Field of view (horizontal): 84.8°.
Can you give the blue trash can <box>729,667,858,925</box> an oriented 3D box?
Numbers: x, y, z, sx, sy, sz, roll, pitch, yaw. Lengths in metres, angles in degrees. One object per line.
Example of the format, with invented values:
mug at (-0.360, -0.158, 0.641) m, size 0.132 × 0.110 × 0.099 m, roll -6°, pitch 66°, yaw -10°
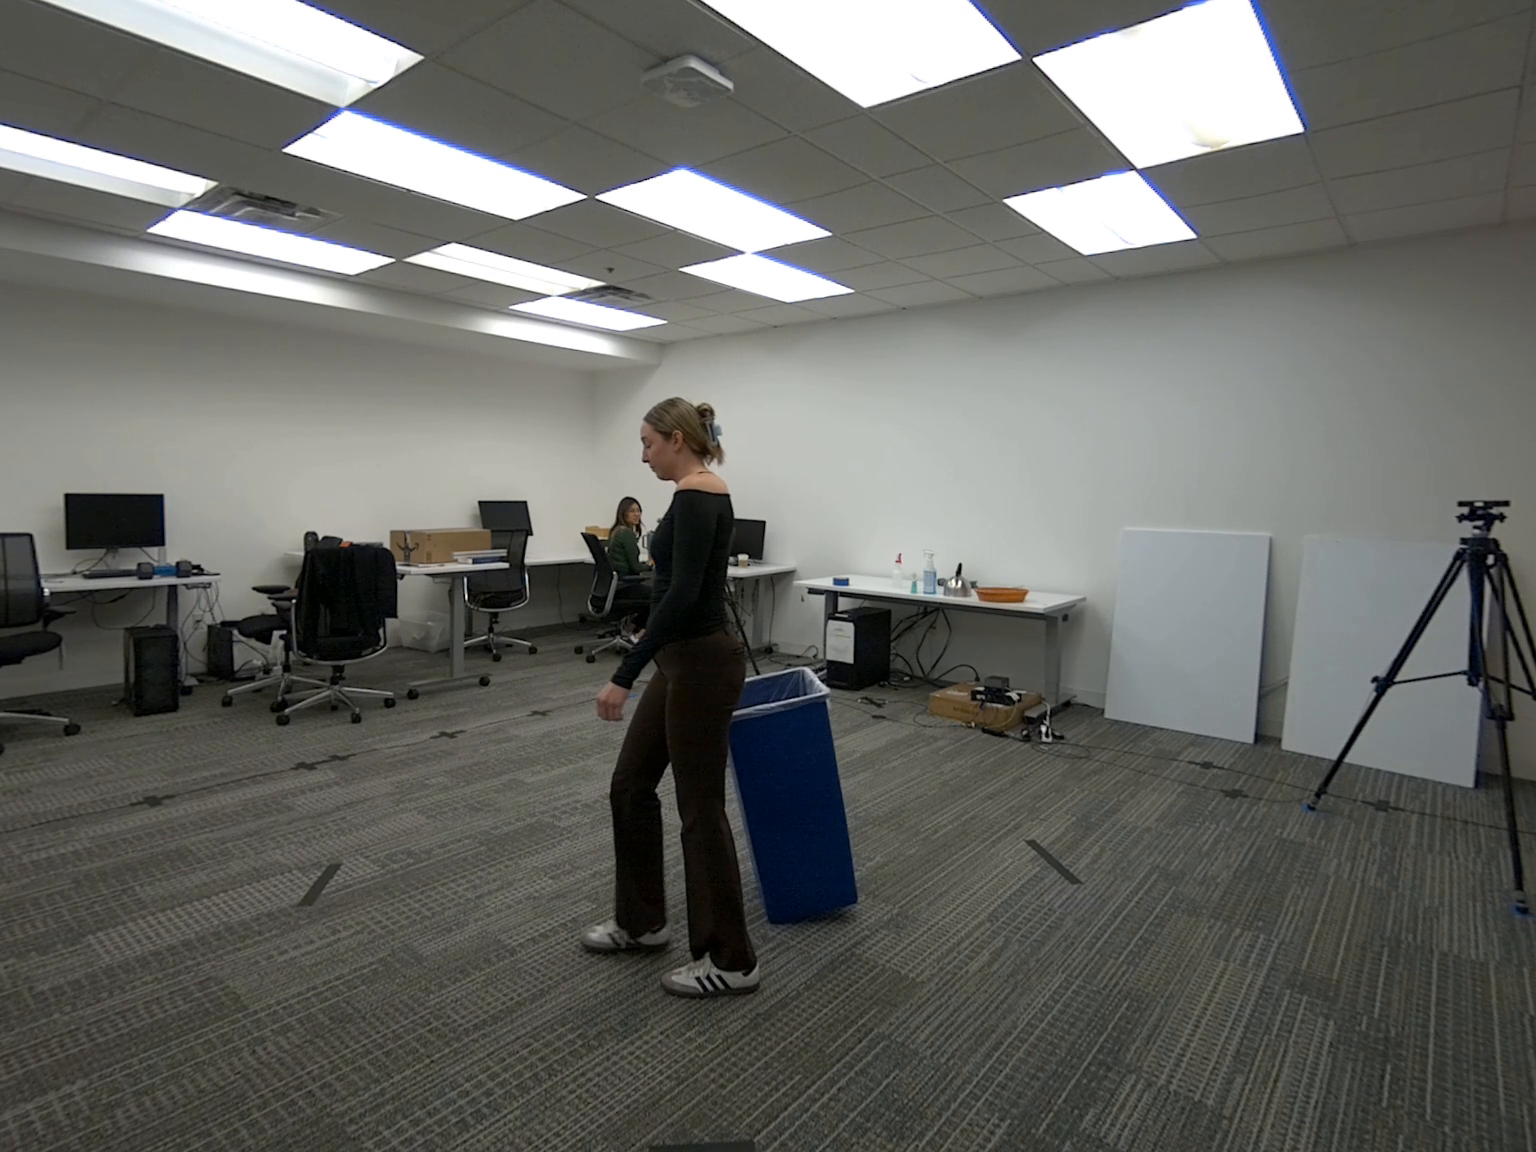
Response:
blue trash can at (0.045, 0.722, 2.857) m, size 0.372 × 0.710 × 0.382 m, roll -11°, pitch 5°, yaw -7°
